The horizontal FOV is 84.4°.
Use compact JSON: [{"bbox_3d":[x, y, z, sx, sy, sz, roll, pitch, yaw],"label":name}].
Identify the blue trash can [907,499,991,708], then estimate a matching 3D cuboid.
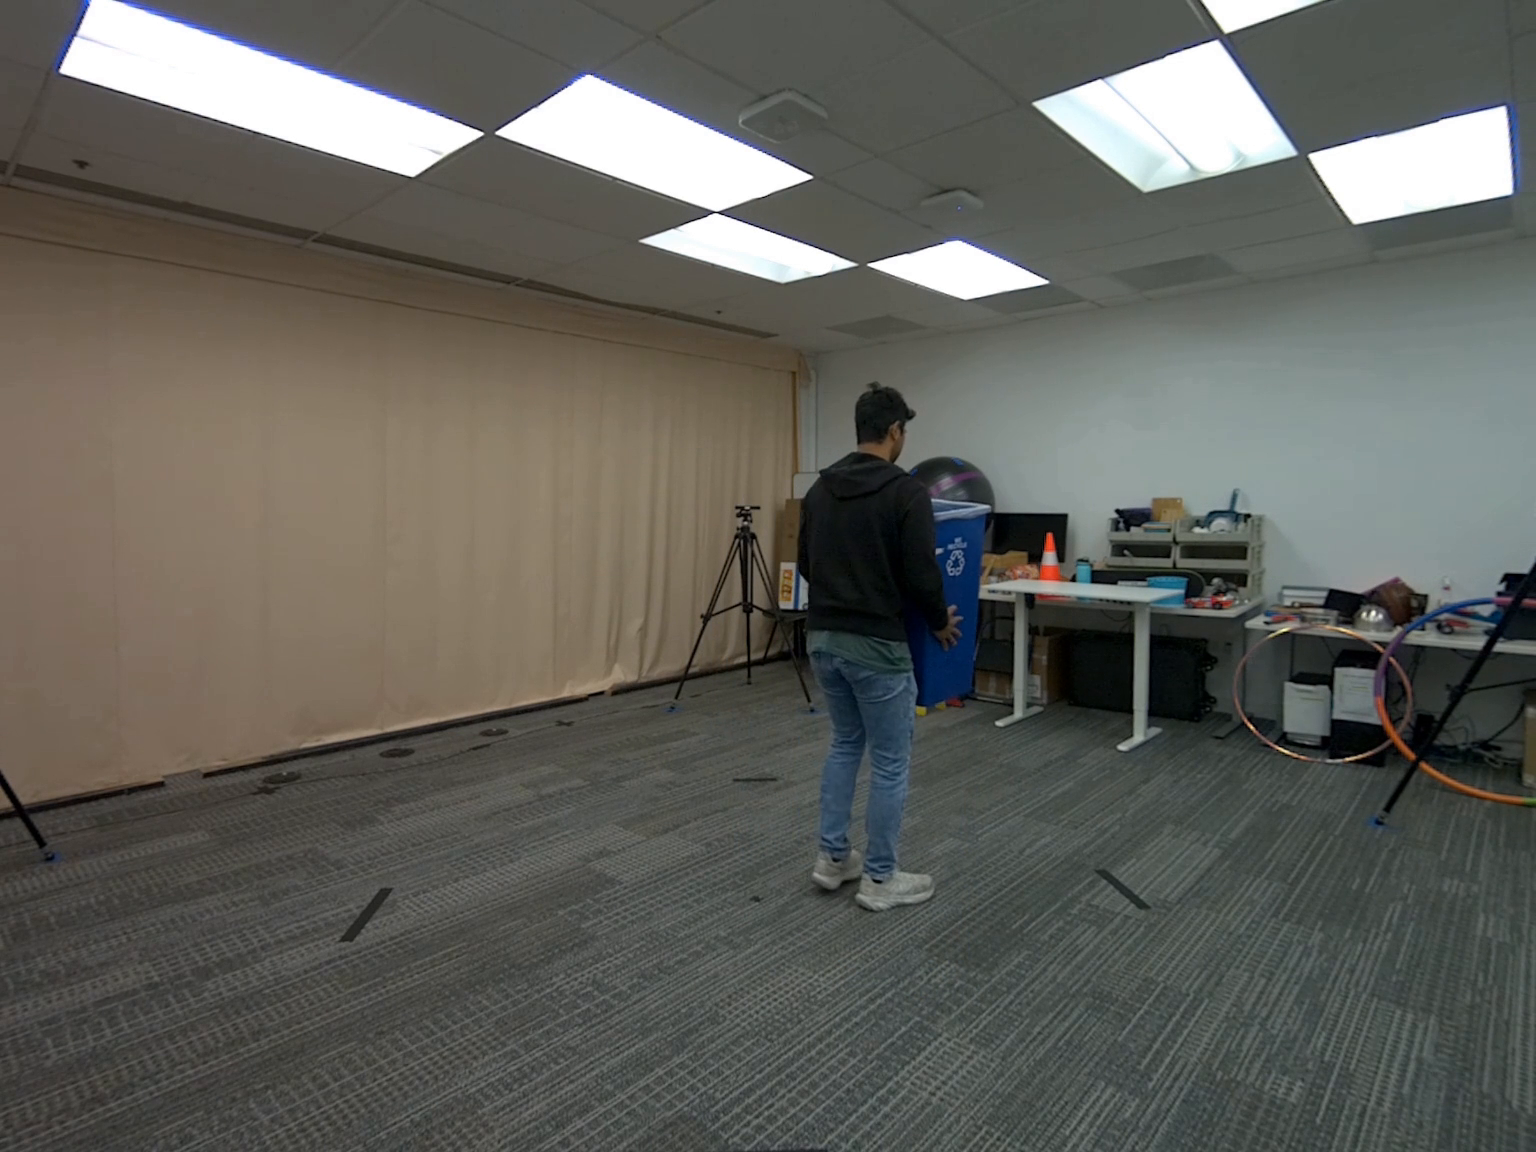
[{"bbox_3d":[0.588,0.087,3.195,0.363,0.709,0.391,-9,14,-41],"label":"blue trash can"}]
